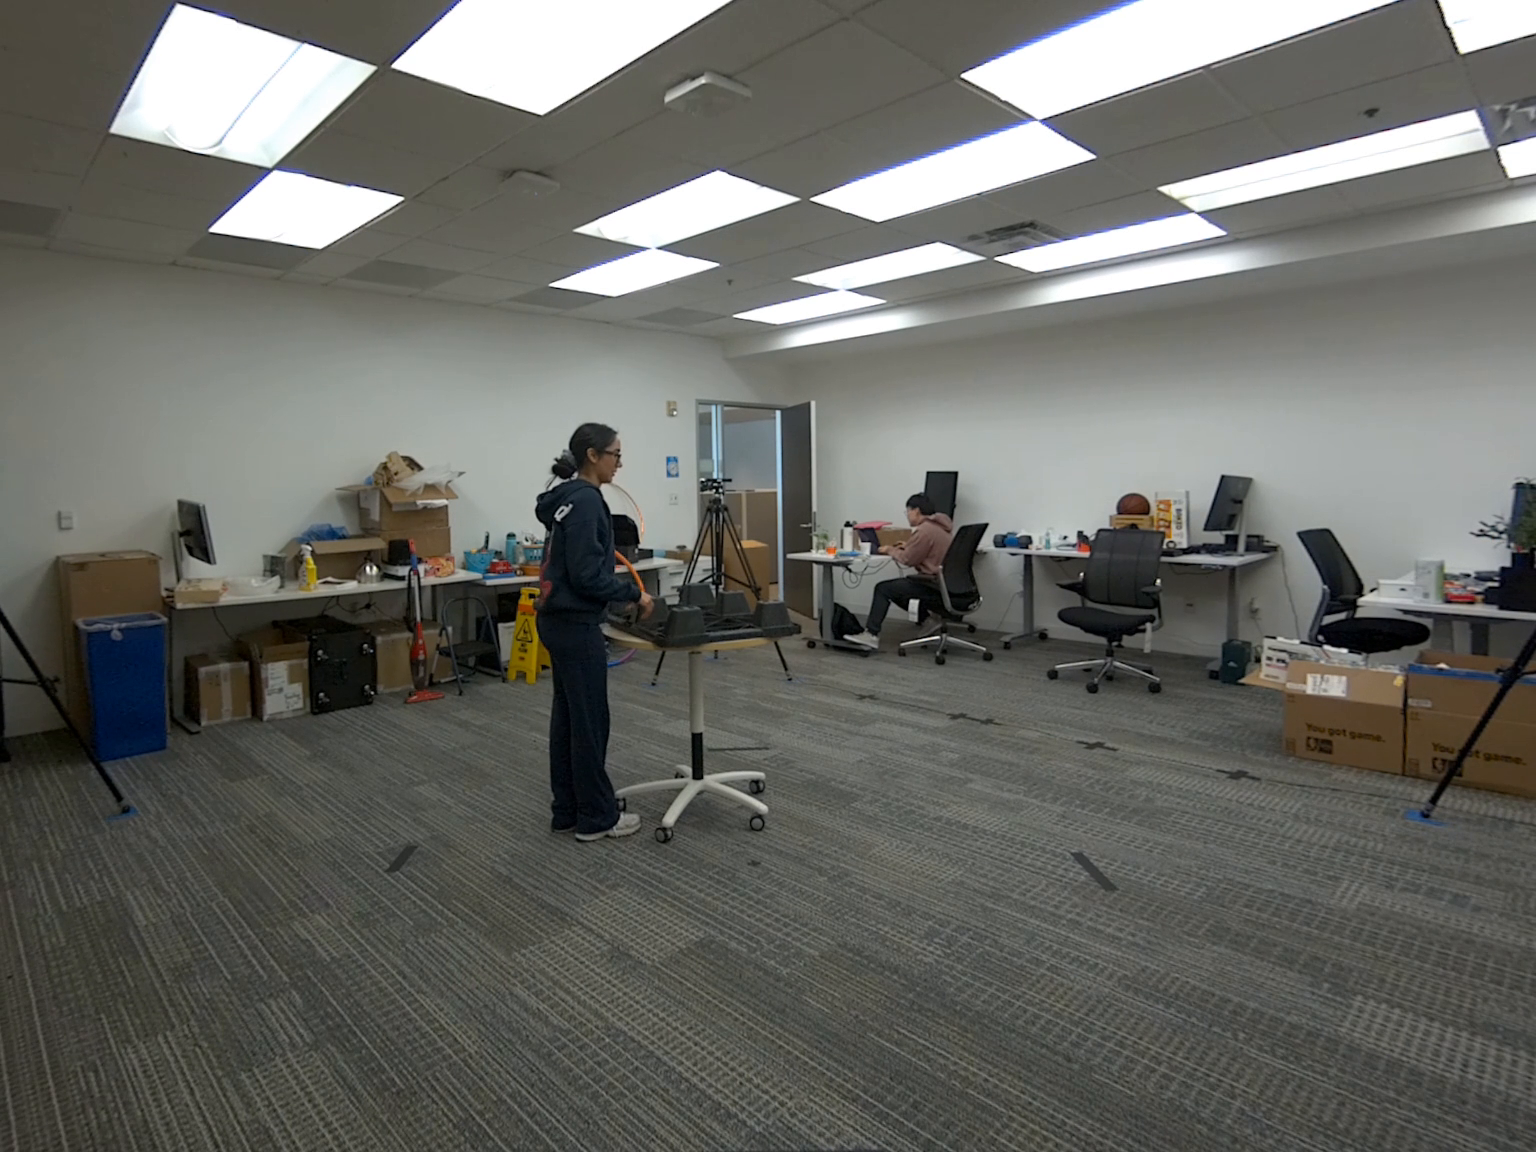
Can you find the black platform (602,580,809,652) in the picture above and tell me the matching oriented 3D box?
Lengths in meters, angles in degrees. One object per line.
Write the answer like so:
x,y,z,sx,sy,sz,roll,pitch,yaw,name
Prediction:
-0.307,0.145,3.592,0.592,0.143,0.827,-4,7,-28,black platform
